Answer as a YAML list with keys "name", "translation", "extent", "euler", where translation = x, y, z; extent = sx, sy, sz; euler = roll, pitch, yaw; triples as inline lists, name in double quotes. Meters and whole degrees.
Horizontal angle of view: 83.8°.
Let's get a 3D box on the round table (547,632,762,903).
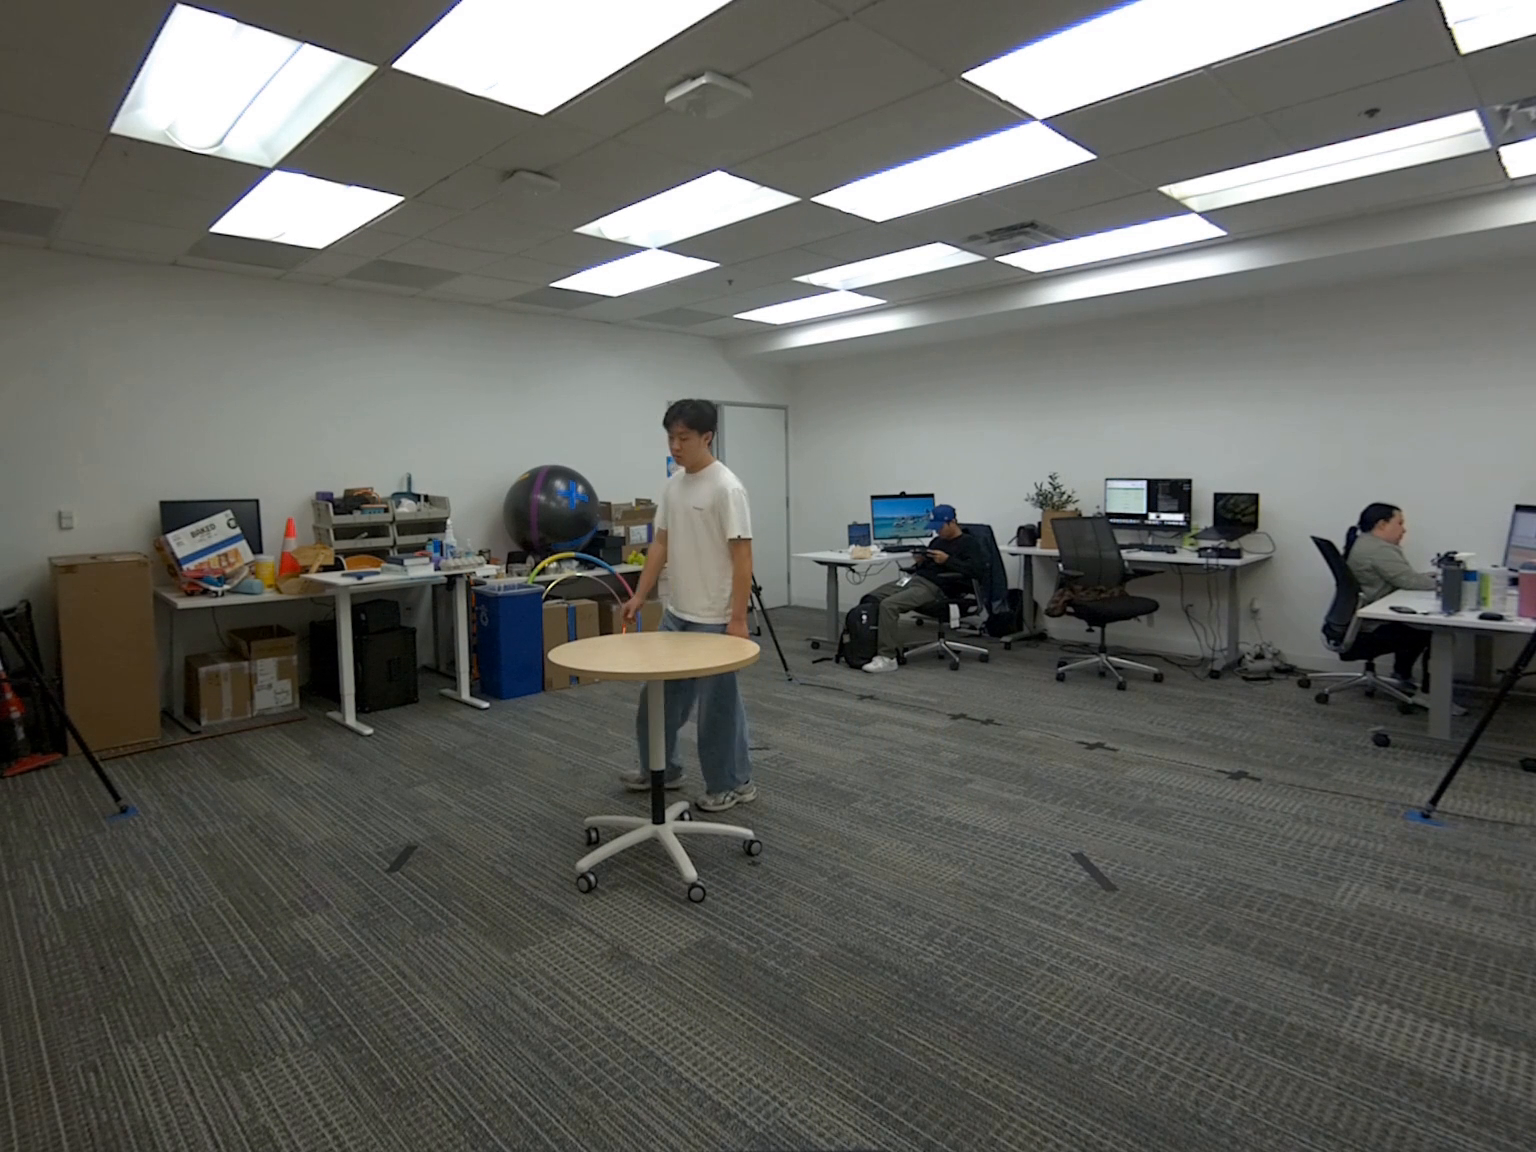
- name: "round table"
  translation: [-0.404, 0.662, 3.128]
  extent: [0.763, 0.791, 0.767]
  euler: [-1, 4, -2]
